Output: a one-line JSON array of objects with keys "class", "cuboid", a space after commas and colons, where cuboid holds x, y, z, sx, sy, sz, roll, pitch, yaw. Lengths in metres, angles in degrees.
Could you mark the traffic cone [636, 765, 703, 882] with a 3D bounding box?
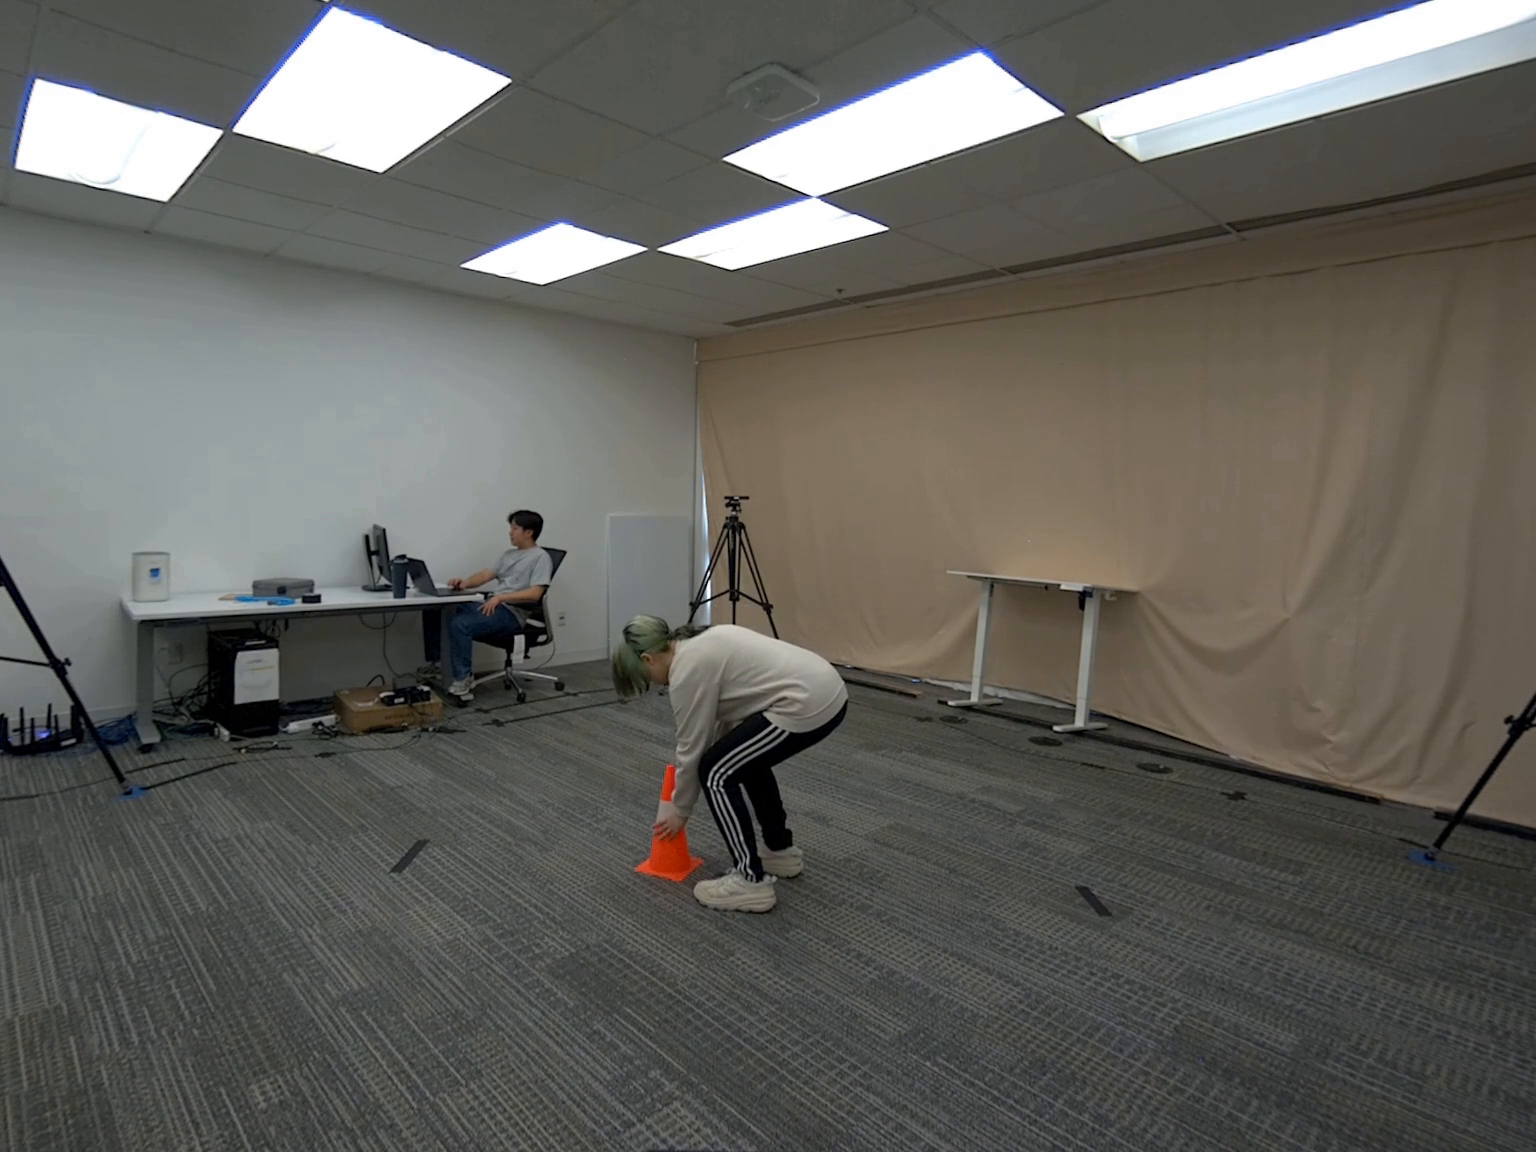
[{"class": "traffic cone", "cuboid": [-0.370, 0.905, 3.162, 0.207, 0.382, 0.202, 3, 5, 24]}]
